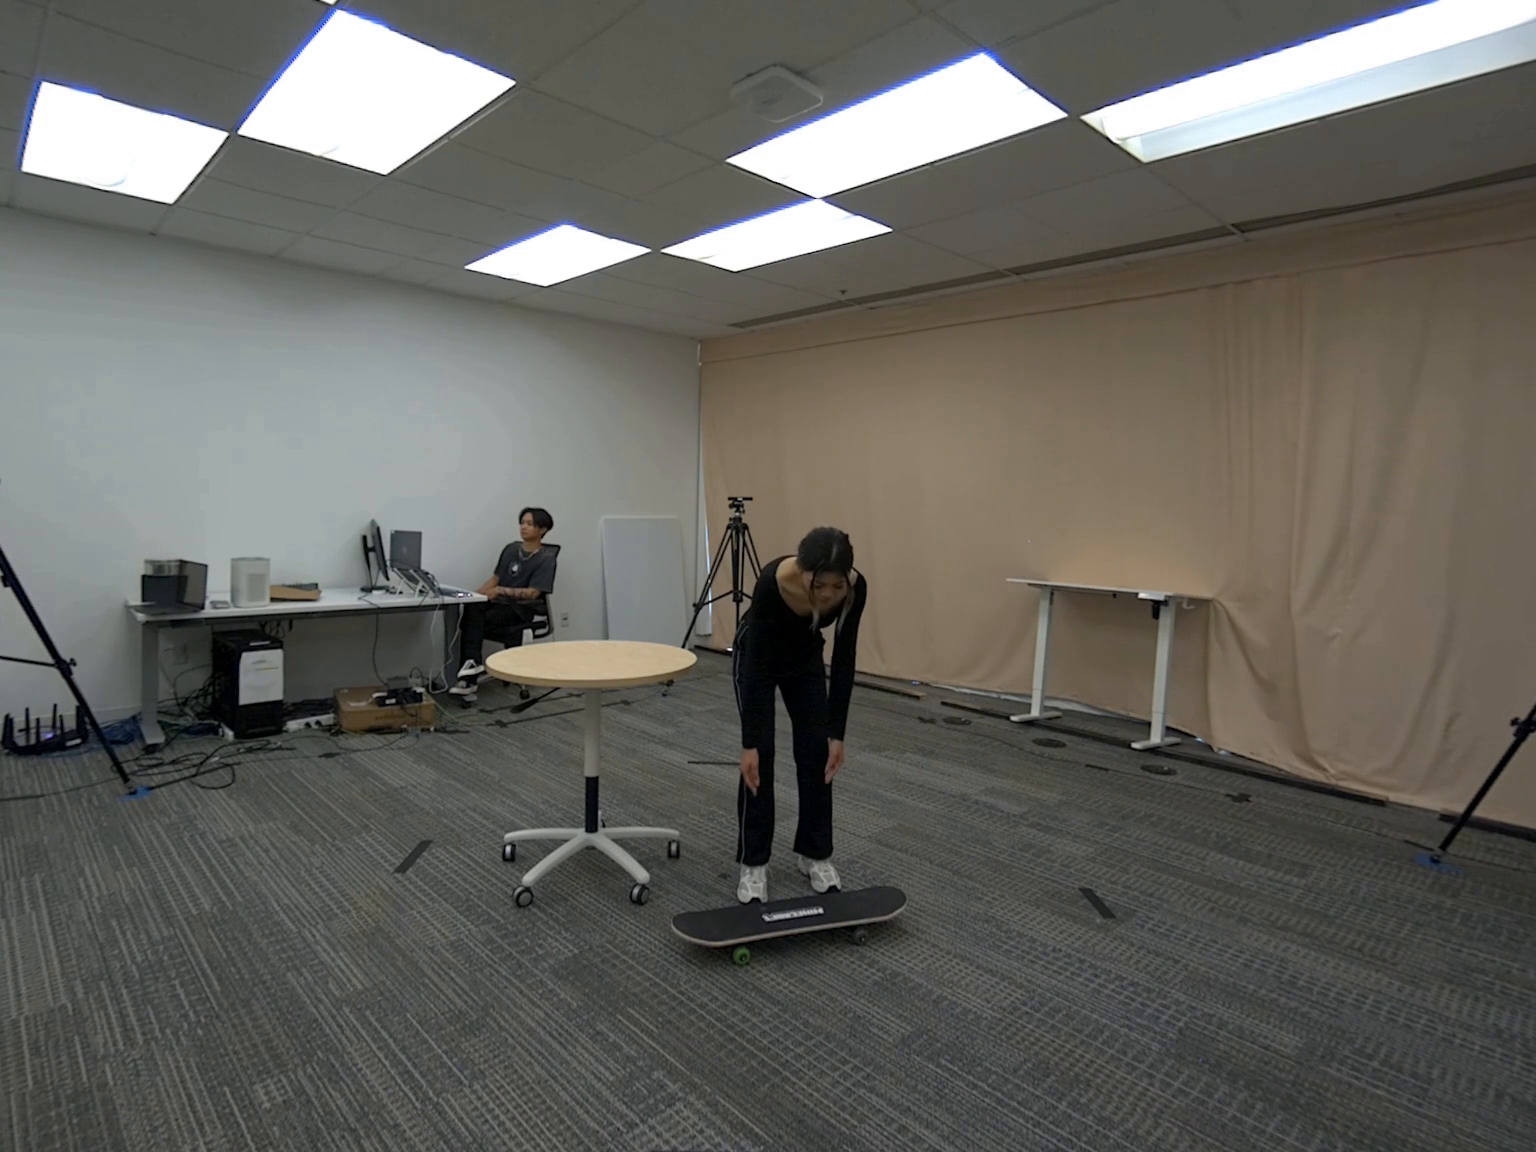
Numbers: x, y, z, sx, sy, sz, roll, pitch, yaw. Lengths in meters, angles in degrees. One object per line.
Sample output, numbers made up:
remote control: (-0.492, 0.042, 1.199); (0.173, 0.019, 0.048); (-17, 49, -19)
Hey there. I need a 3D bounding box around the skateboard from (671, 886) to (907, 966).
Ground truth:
skateboard: (0.076, 1.093, 2.653); (0.774, 0.110, 0.197); (-1, 5, -19)
